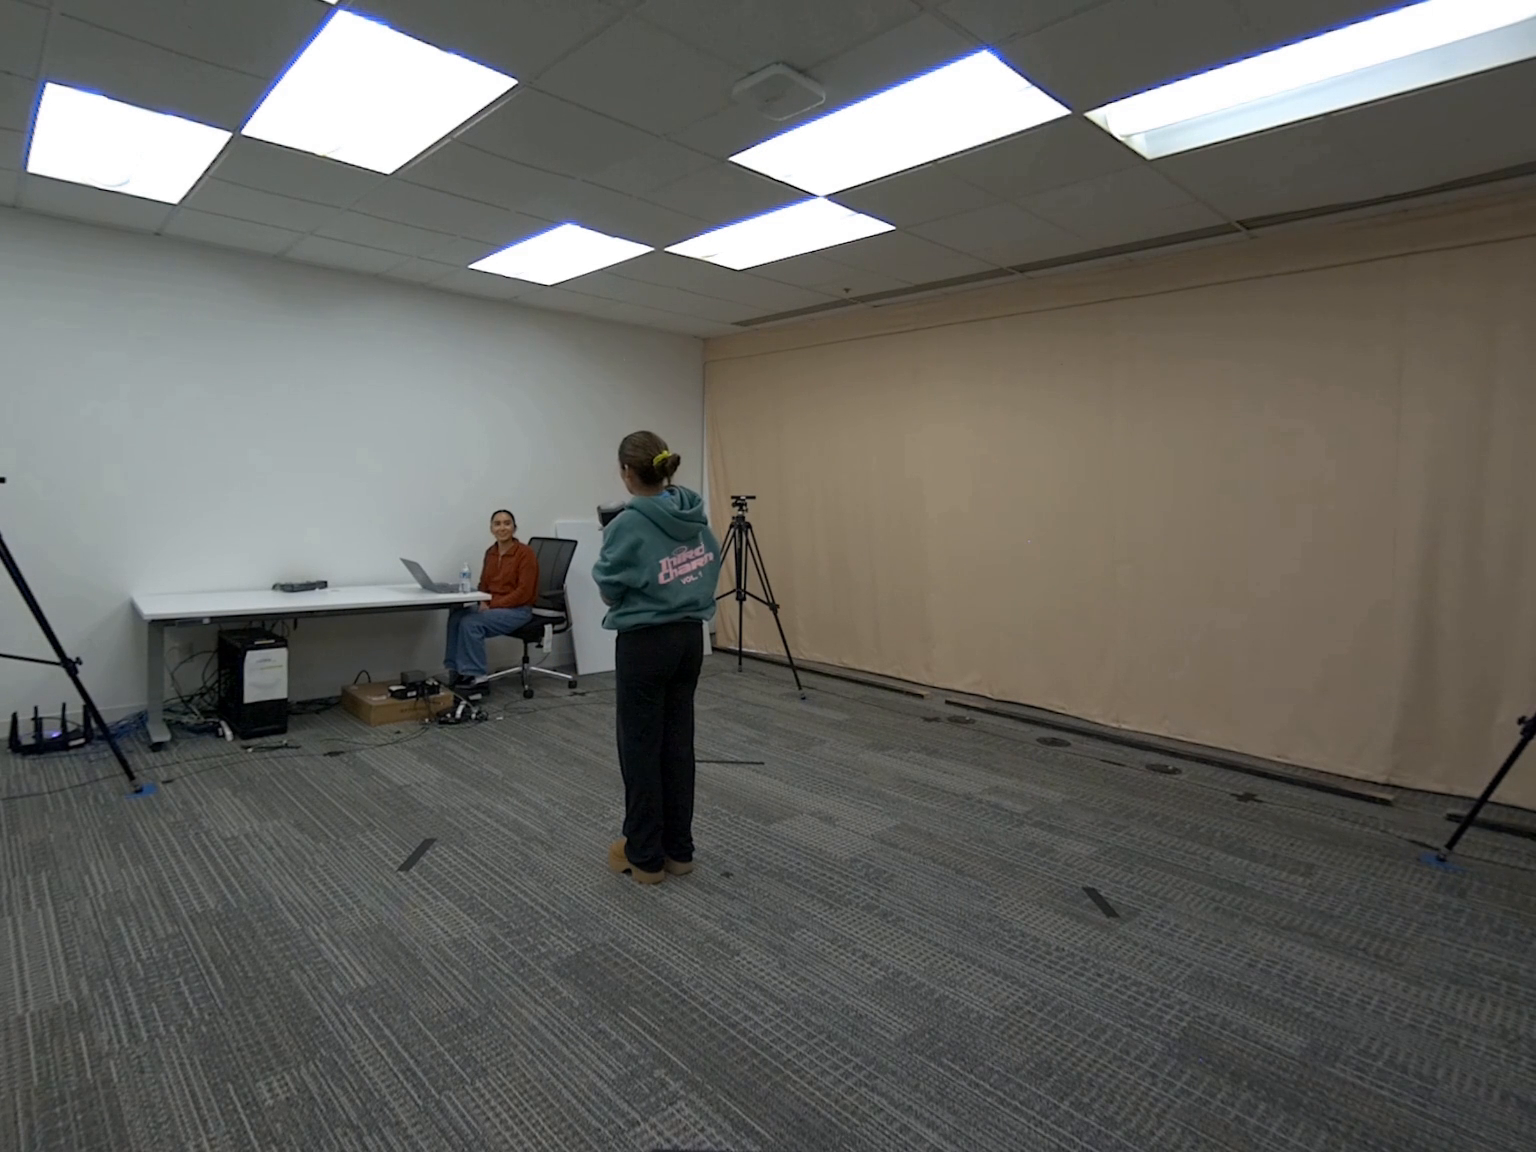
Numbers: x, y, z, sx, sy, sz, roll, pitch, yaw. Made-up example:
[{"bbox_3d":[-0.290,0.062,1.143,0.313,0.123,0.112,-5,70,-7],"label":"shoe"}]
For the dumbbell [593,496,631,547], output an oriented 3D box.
[{"bbox_3d":[-0.573,-0.146,3.258,0.123,0.288,0.110,-6,26,4],"label":"dumbbell"}]
